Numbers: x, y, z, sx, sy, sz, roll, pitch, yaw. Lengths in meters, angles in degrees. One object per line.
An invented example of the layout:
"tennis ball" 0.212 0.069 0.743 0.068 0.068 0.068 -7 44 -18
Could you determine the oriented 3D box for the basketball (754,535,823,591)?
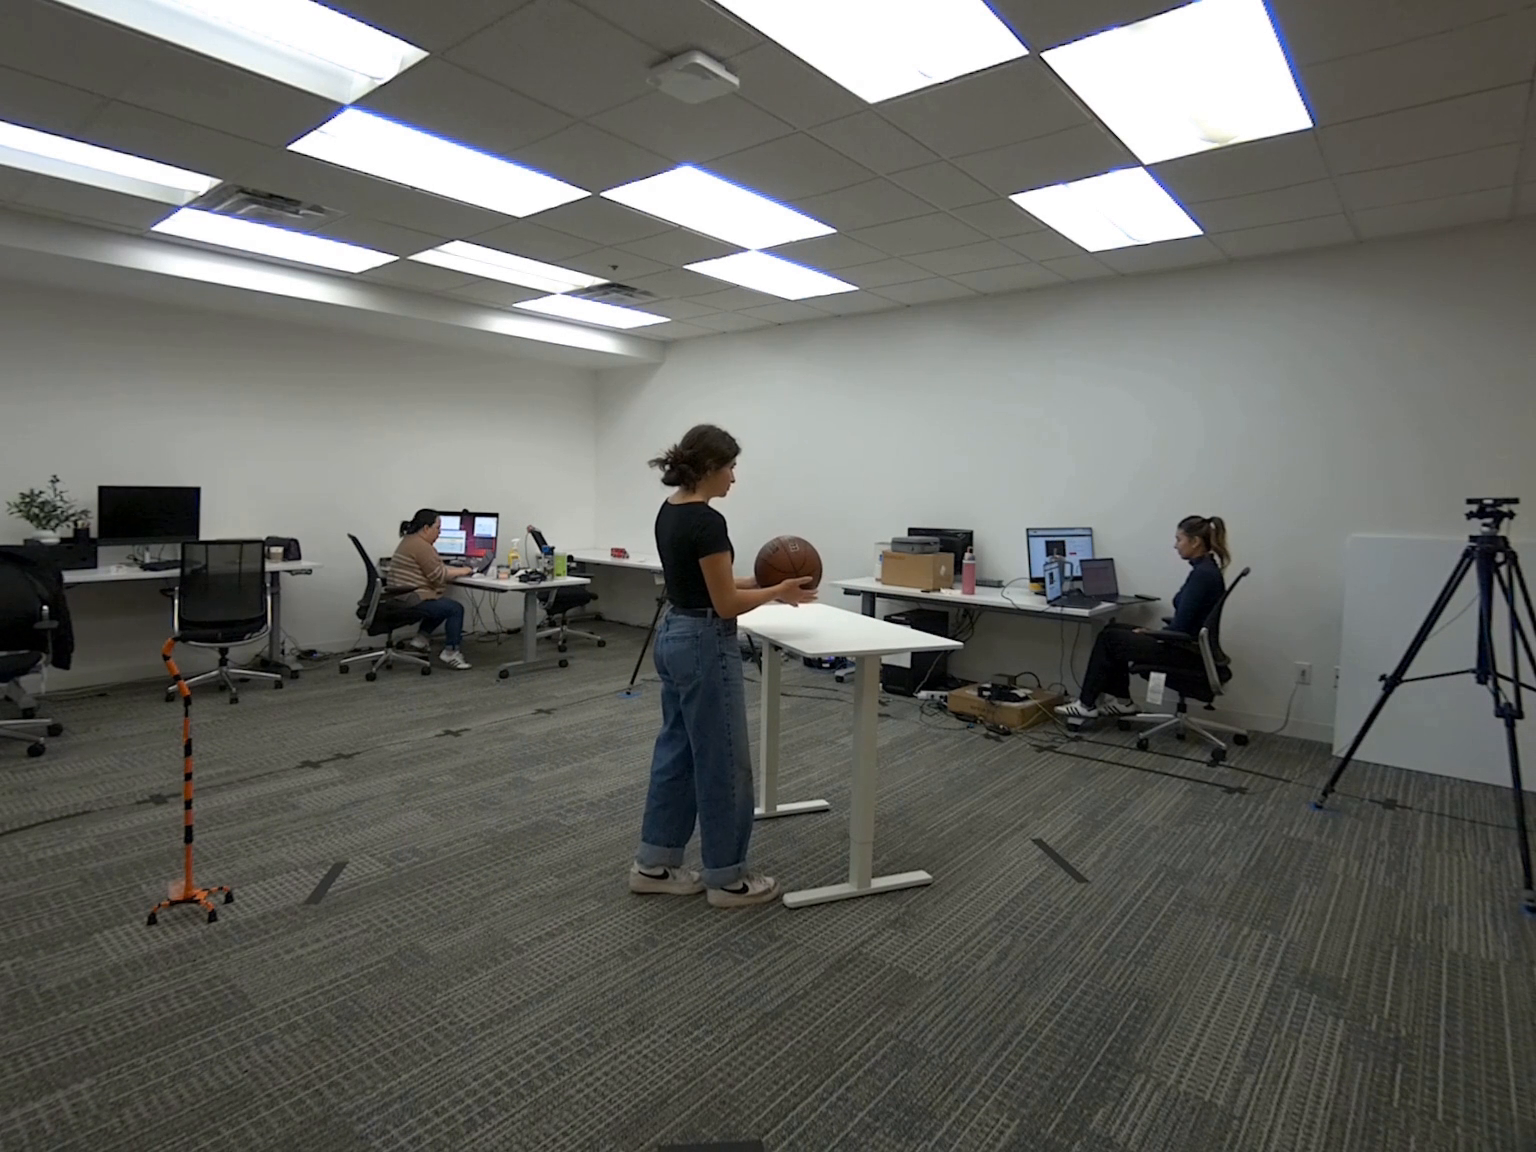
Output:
"basketball" 0.060 -0.025 2.968 0.235 0.235 0.237 1 4 -2
